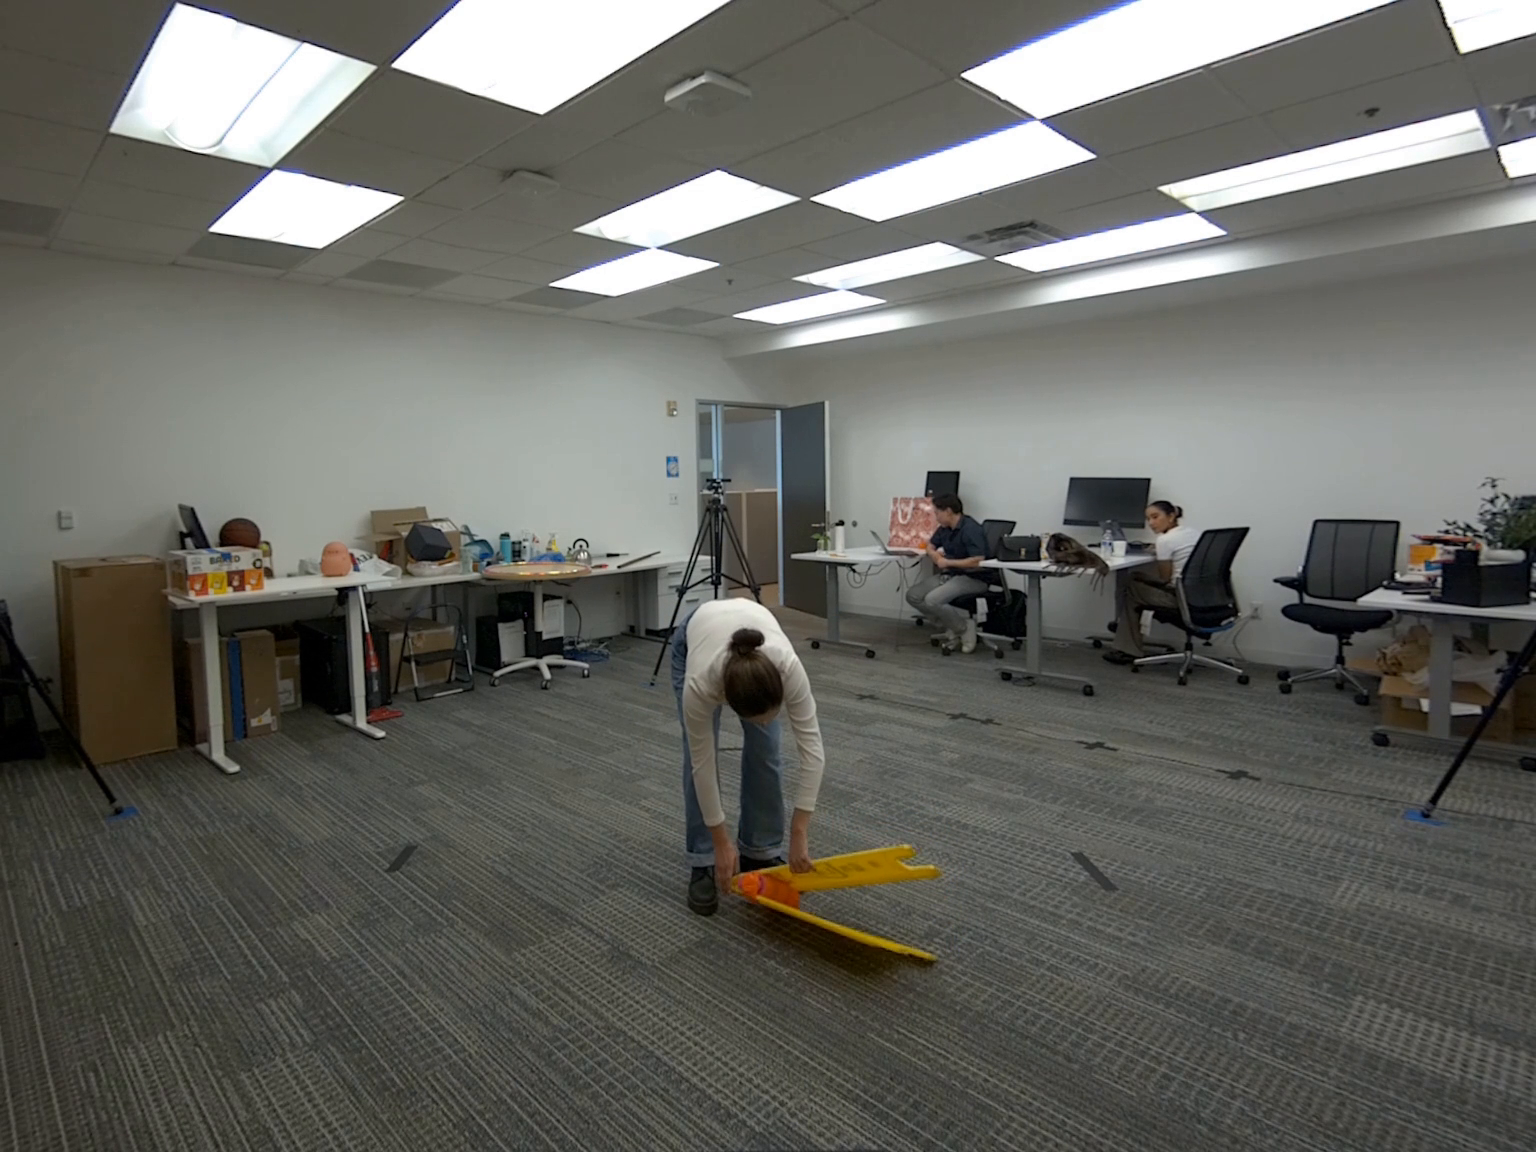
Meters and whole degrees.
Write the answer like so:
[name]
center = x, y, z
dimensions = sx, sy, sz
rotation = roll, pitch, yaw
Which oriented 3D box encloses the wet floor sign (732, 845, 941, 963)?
[wet floor sign]
center = 0.170, 0.984, 2.597
dimensions = 0.660, 0.295, 0.271
rotation = -9, -35, 31
